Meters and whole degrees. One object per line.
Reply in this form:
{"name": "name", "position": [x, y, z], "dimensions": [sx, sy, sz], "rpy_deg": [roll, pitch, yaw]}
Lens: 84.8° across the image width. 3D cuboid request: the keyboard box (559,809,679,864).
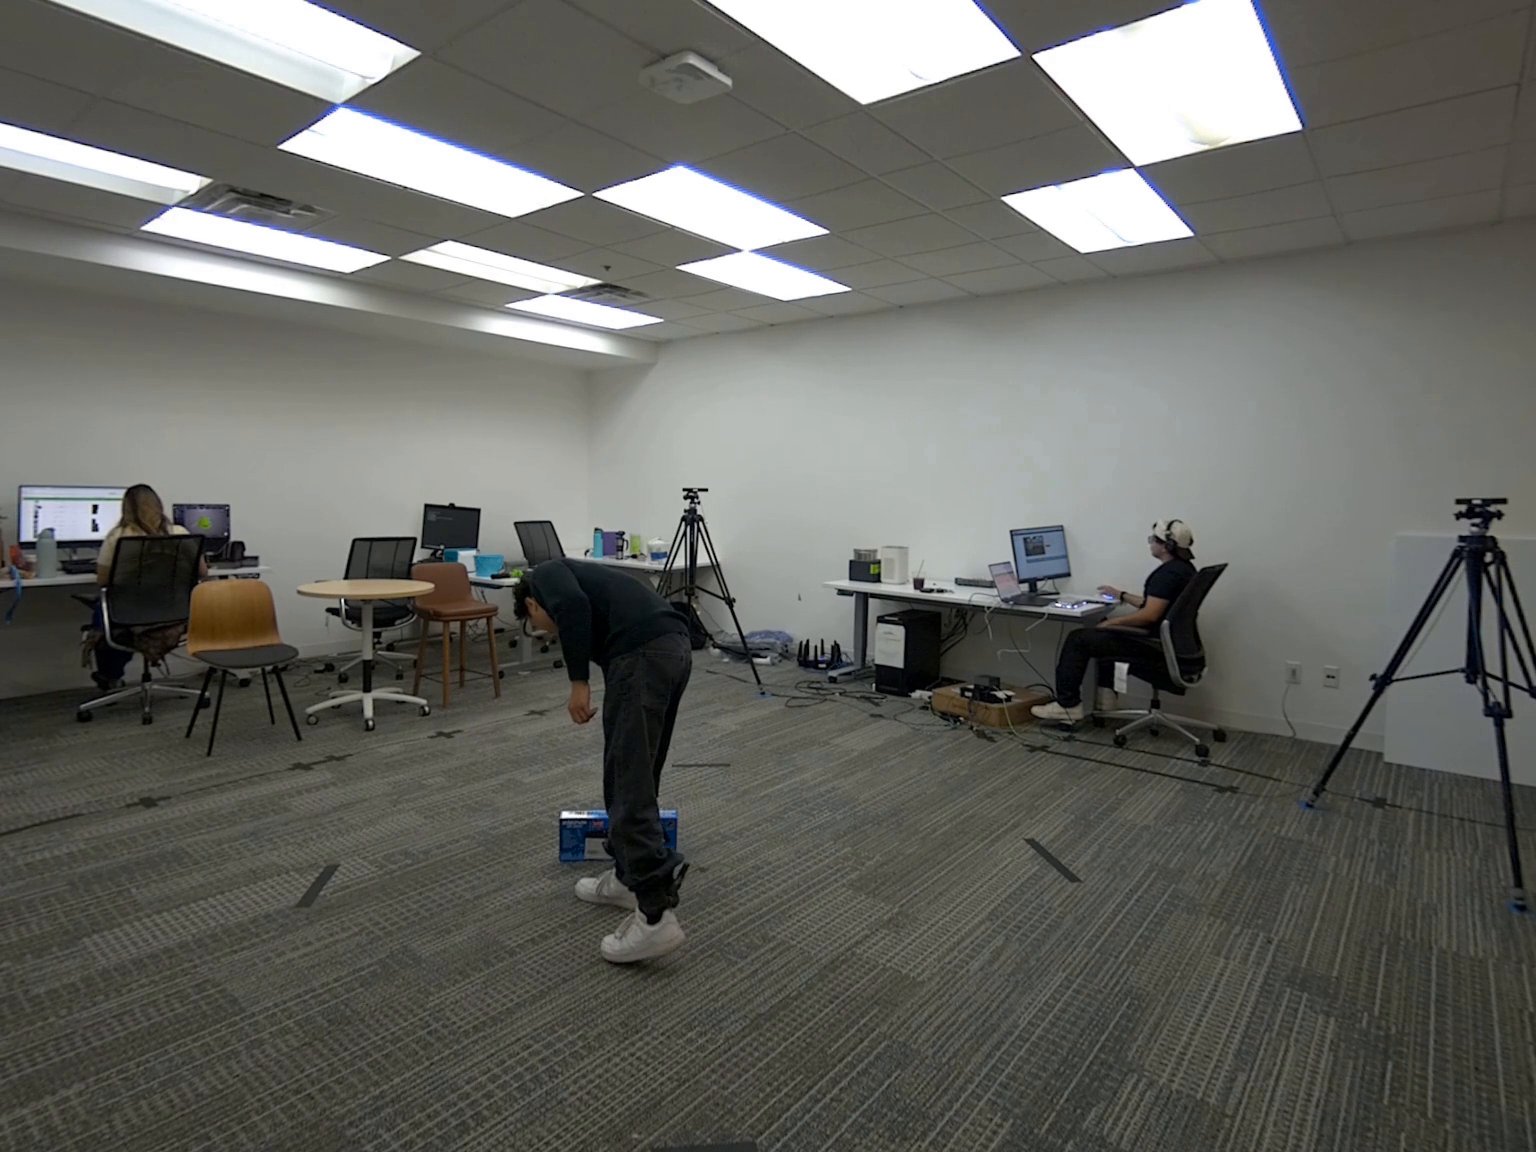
{"name": "keyboard box", "position": [-0.570, 0.964, 3.180], "dimensions": [0.434, 0.174, 0.060], "rpy_deg": [0, 10, -5]}
